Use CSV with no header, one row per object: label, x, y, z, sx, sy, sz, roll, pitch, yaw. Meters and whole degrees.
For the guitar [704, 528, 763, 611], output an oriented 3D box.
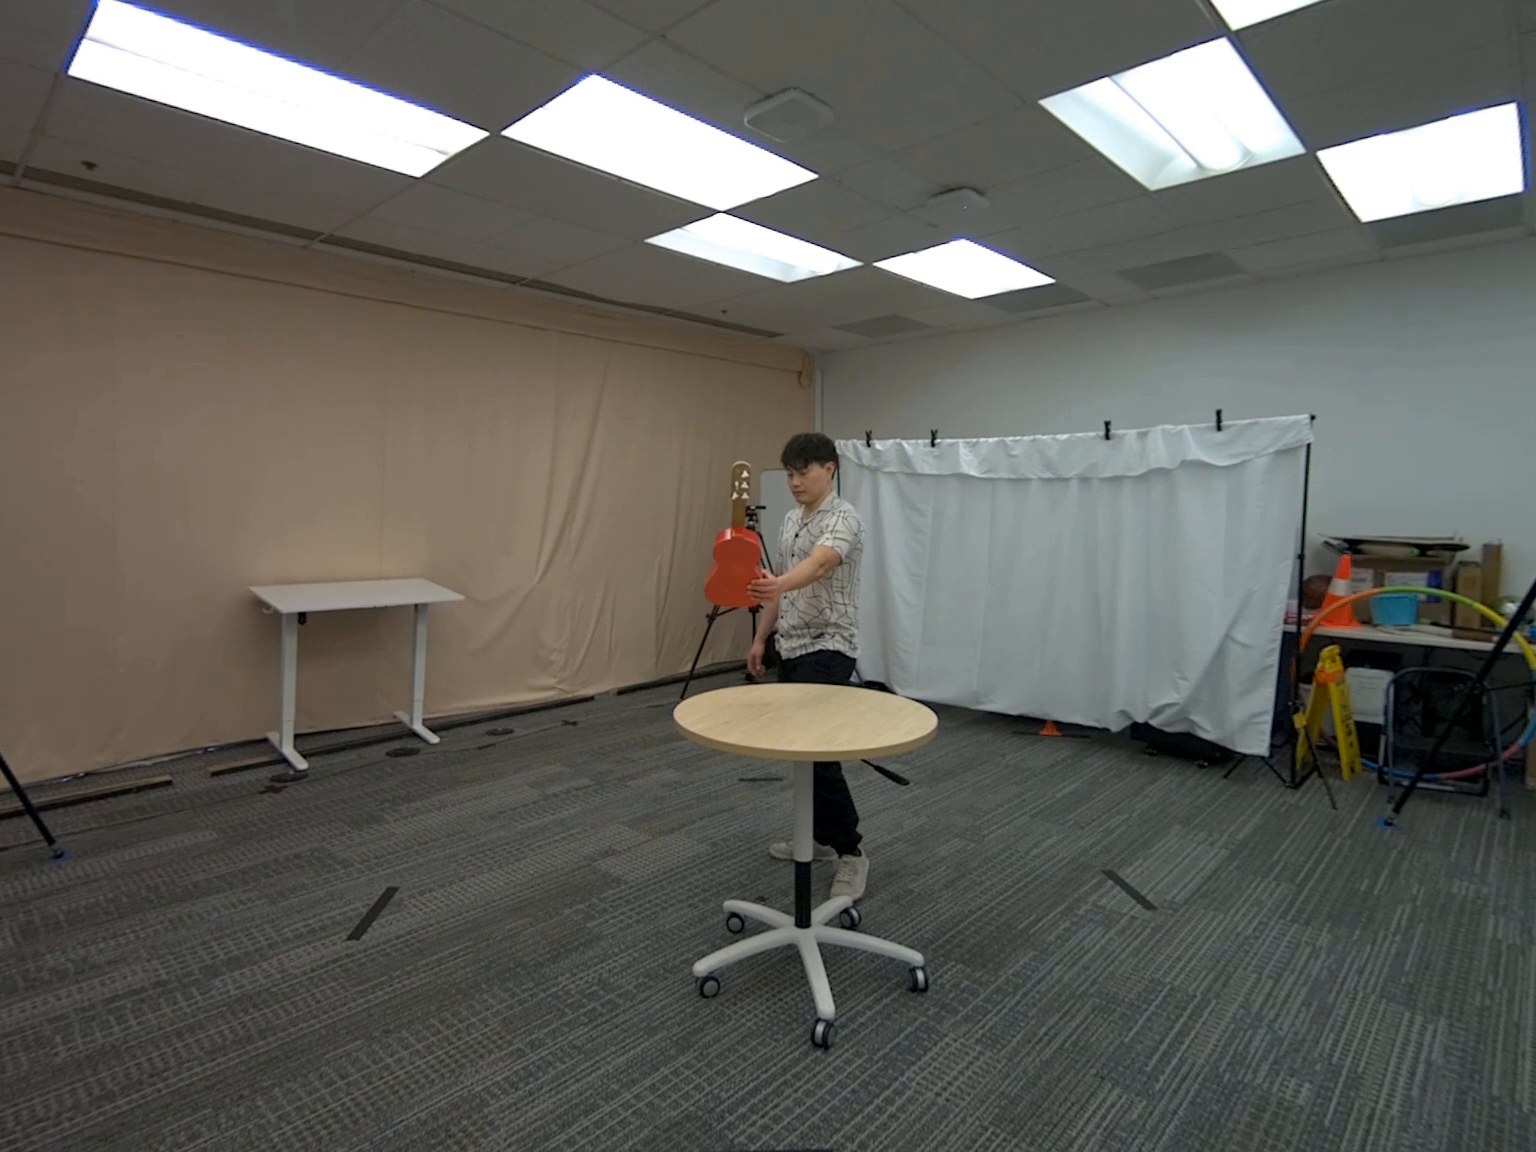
guitar,-0.118,-0.116,2.568,0.194,0.487,0.072,-3,35,5
